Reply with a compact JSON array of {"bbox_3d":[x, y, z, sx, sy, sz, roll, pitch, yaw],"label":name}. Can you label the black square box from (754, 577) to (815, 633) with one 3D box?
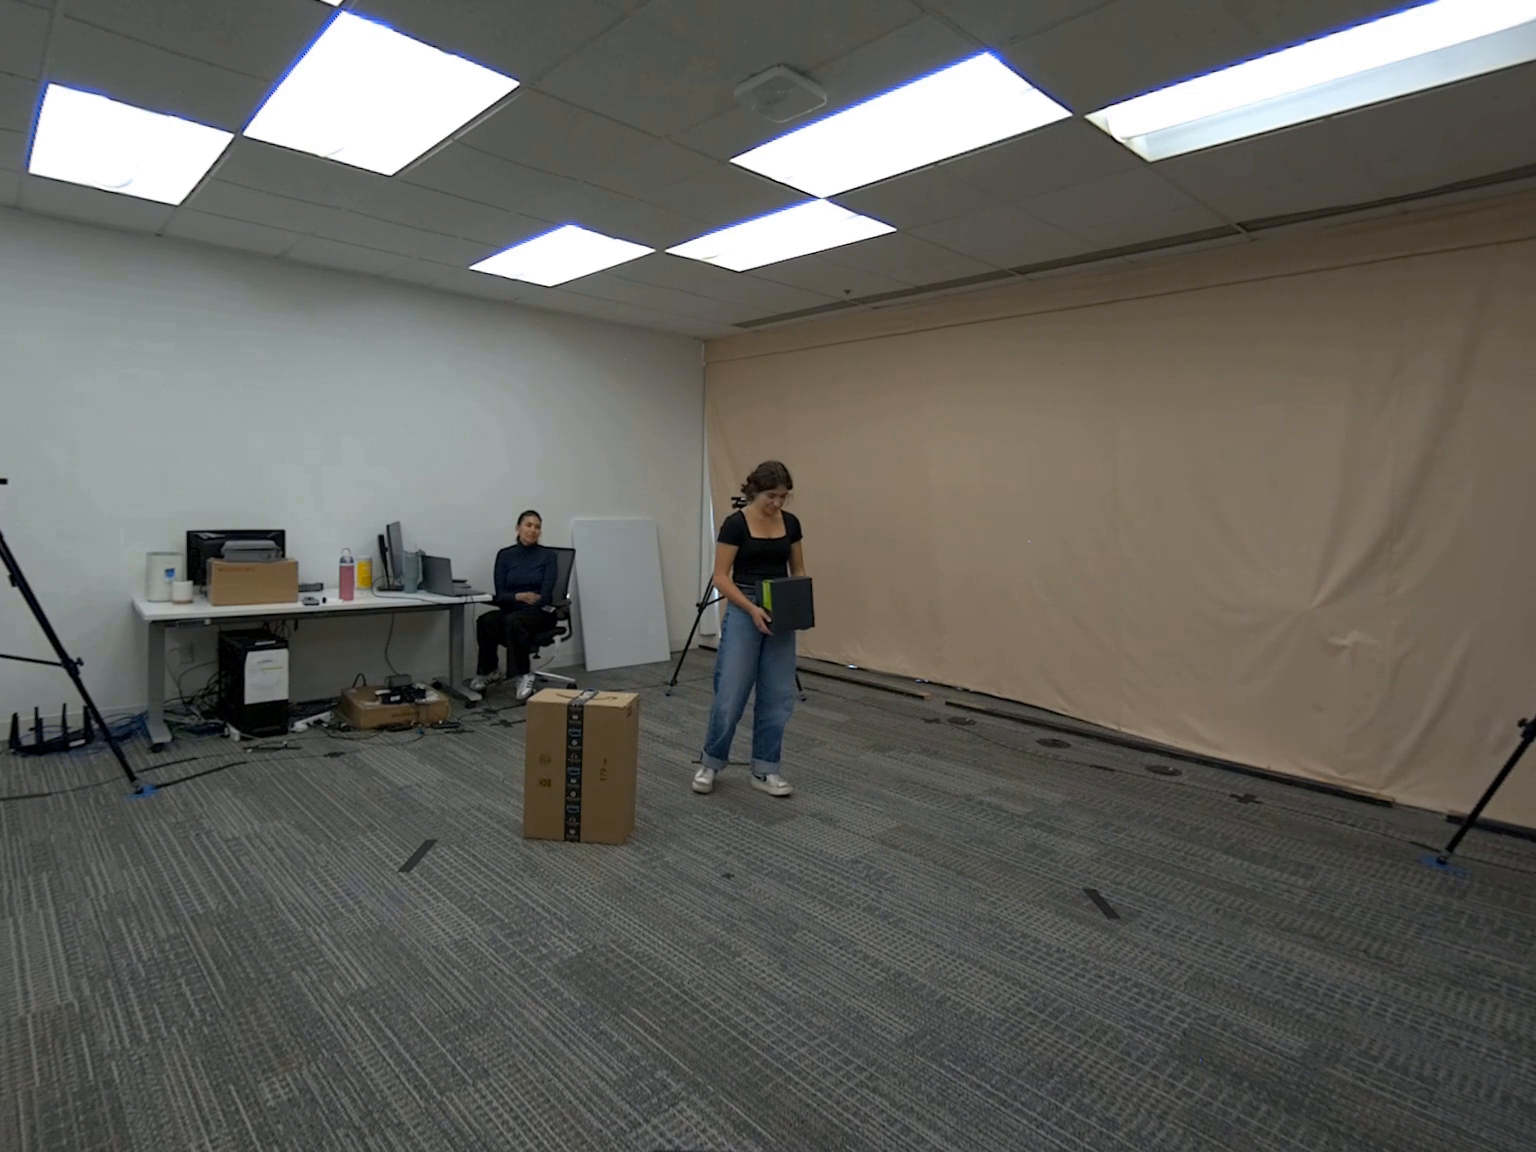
[{"bbox_3d":[0.064,0.121,3.860,0.213,0.227,0.159,-7,6,-24],"label":"black square box"}]
